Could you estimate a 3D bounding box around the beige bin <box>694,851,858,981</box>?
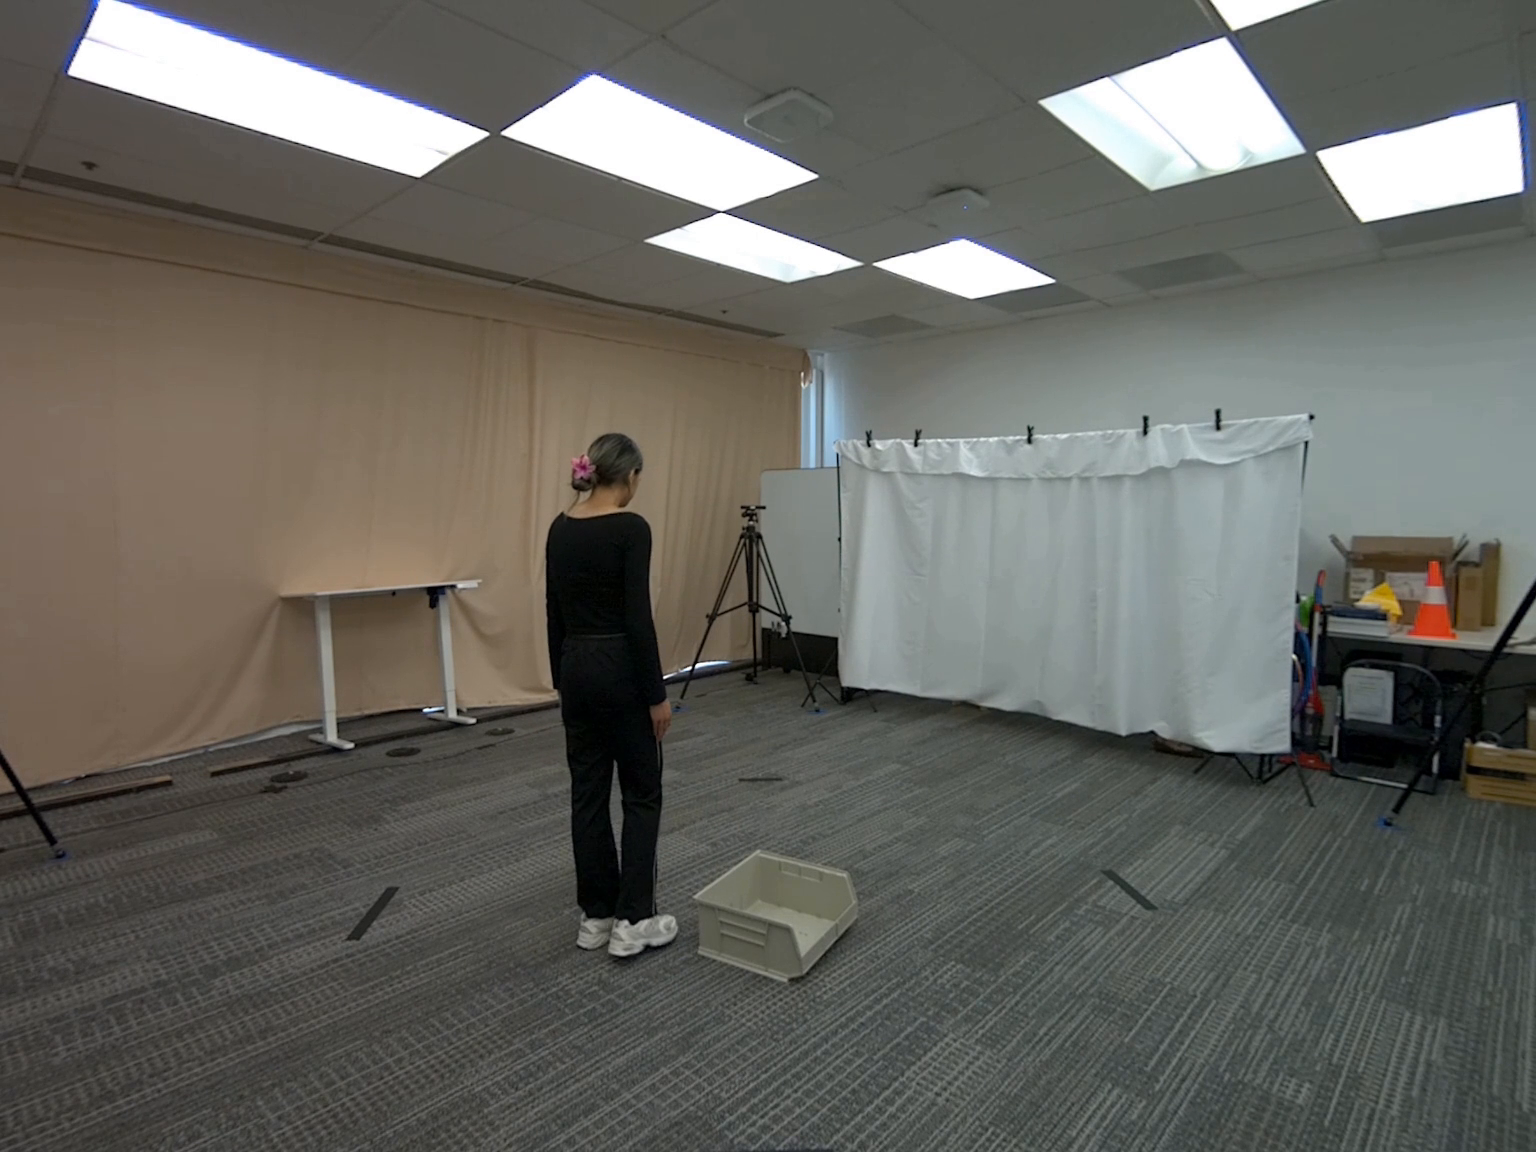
[{"bbox_3d":[0.032,1.080,2.696,0.388,0.188,0.411,1,5,30],"label":"beige bin"}]
